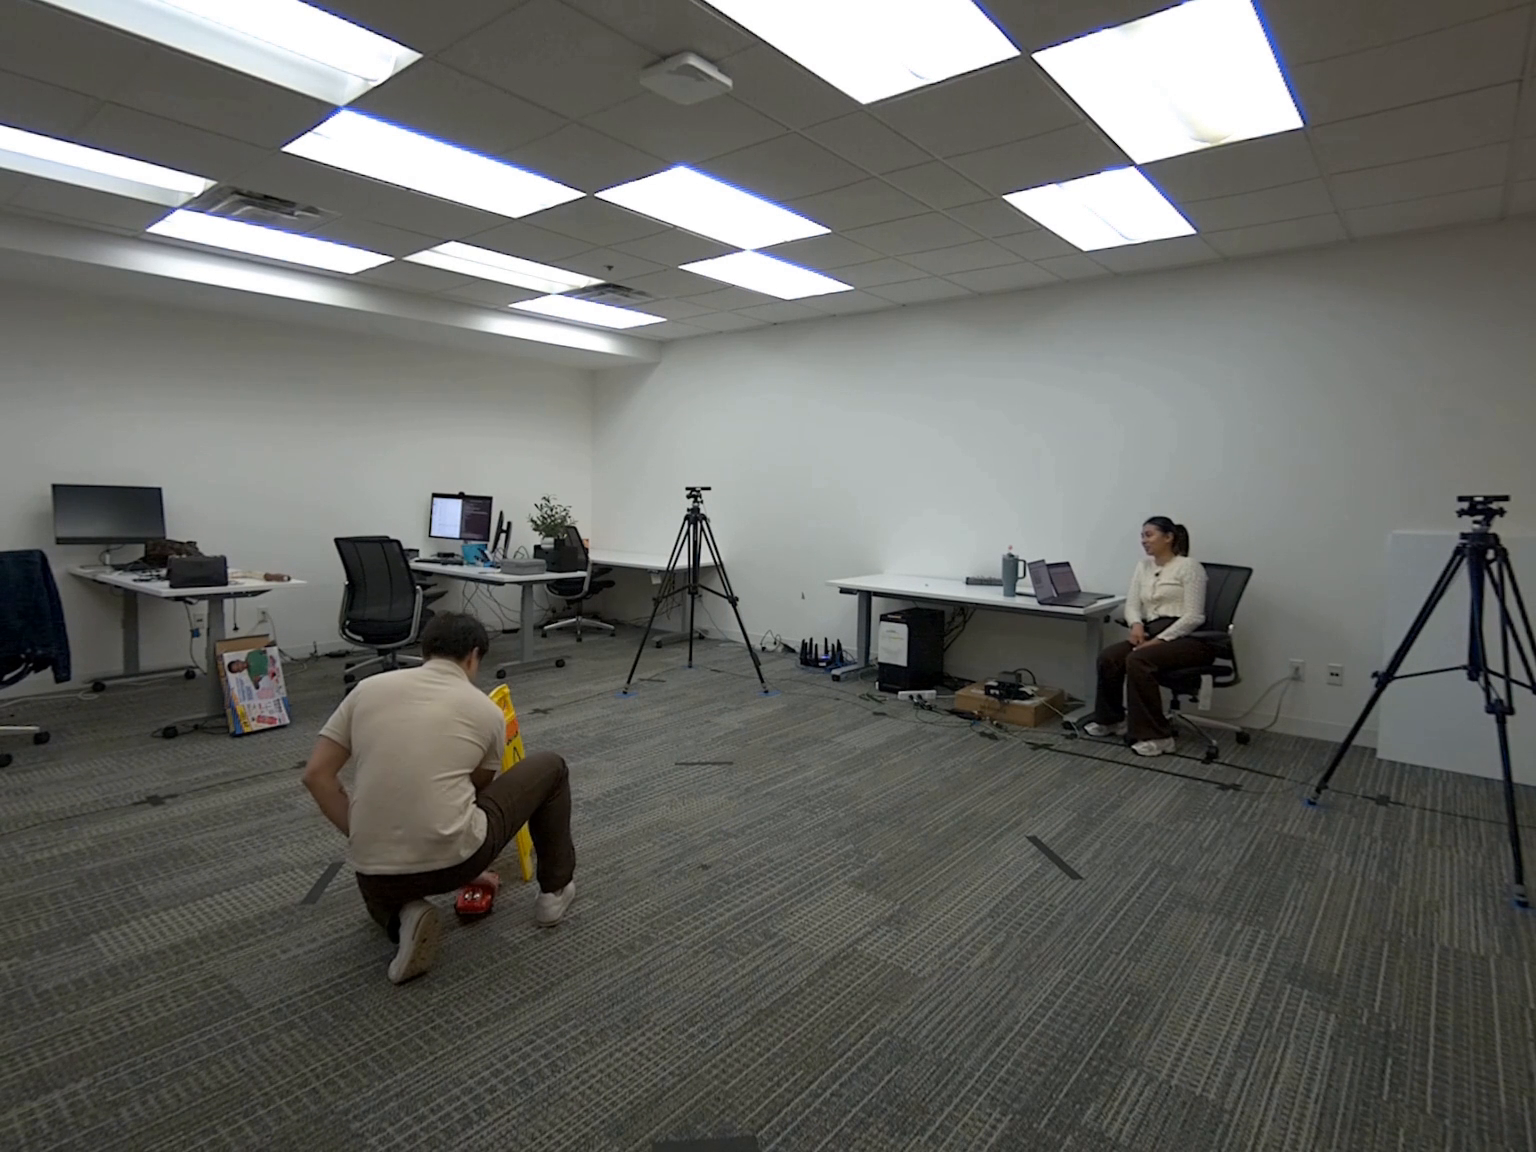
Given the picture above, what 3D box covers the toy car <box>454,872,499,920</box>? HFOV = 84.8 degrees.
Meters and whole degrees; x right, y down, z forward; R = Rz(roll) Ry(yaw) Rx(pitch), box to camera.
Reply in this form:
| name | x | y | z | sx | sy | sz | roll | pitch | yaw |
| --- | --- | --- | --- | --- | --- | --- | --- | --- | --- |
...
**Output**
| name | x | y | z | sx | sy | sz | roll | pitch | yaw |
| --- | --- | --- | --- | --- | --- | --- | --- | --- | --- |
| toy car | -0.972 | 1.045 | 2.815 | 0.129 | 0.083 | 0.255 | 3 | -1 | -7 |
